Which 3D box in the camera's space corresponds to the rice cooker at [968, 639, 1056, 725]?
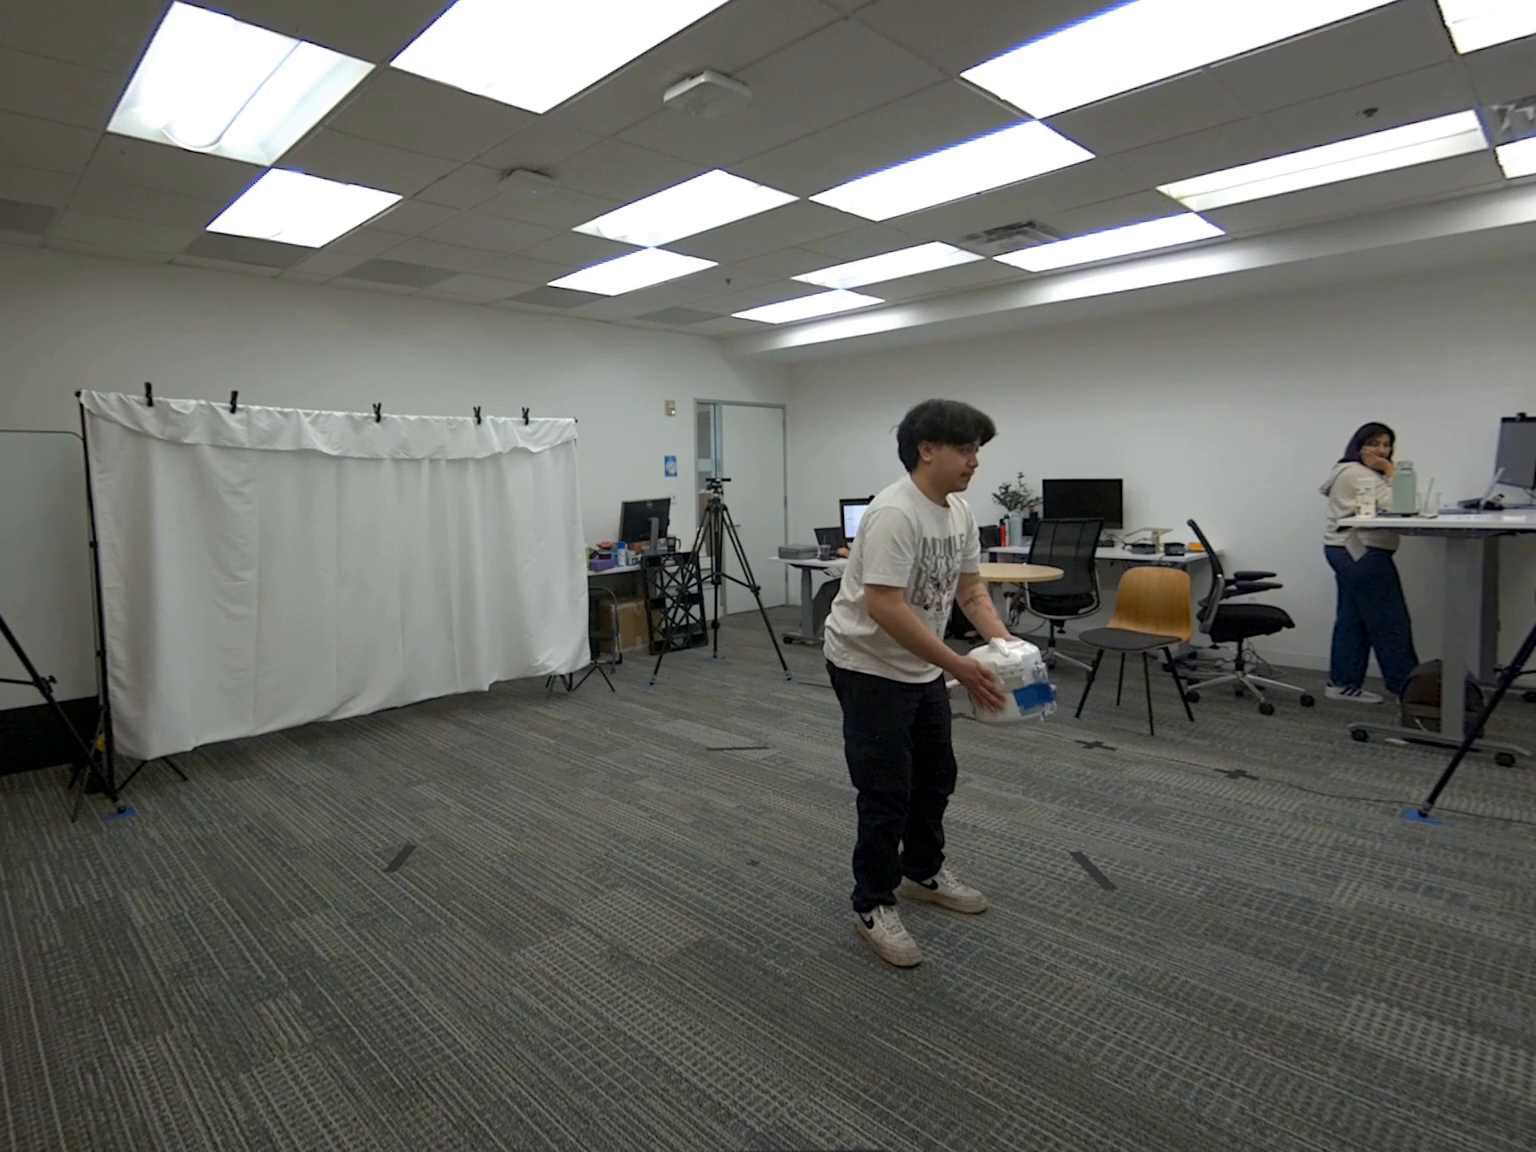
[{"bbox_3d":[0.667,0.290,2.415,0.219,0.233,0.218,-10,-2,9],"label":"rice cooker"}]
